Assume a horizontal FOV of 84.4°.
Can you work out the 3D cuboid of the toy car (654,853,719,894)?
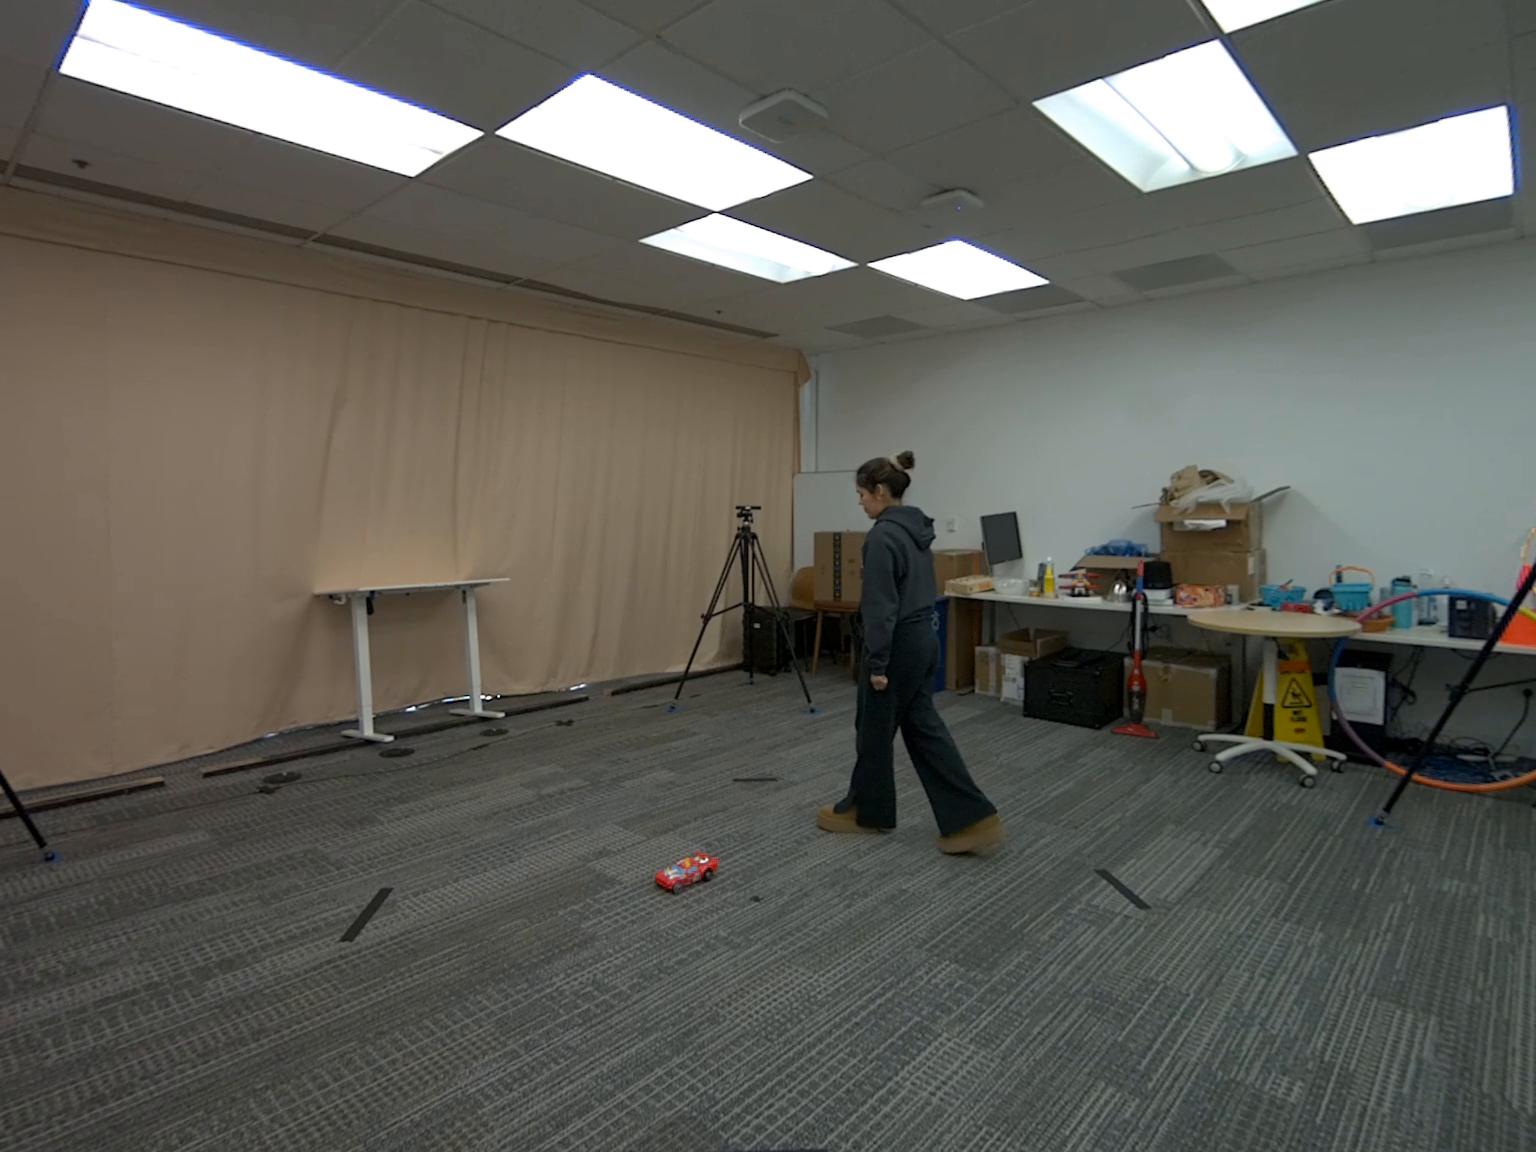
[{"bbox_3d":[-0.277,1.103,3.132,0.248,0.082,0.134,-20,15,-40],"label":"toy car"}]
